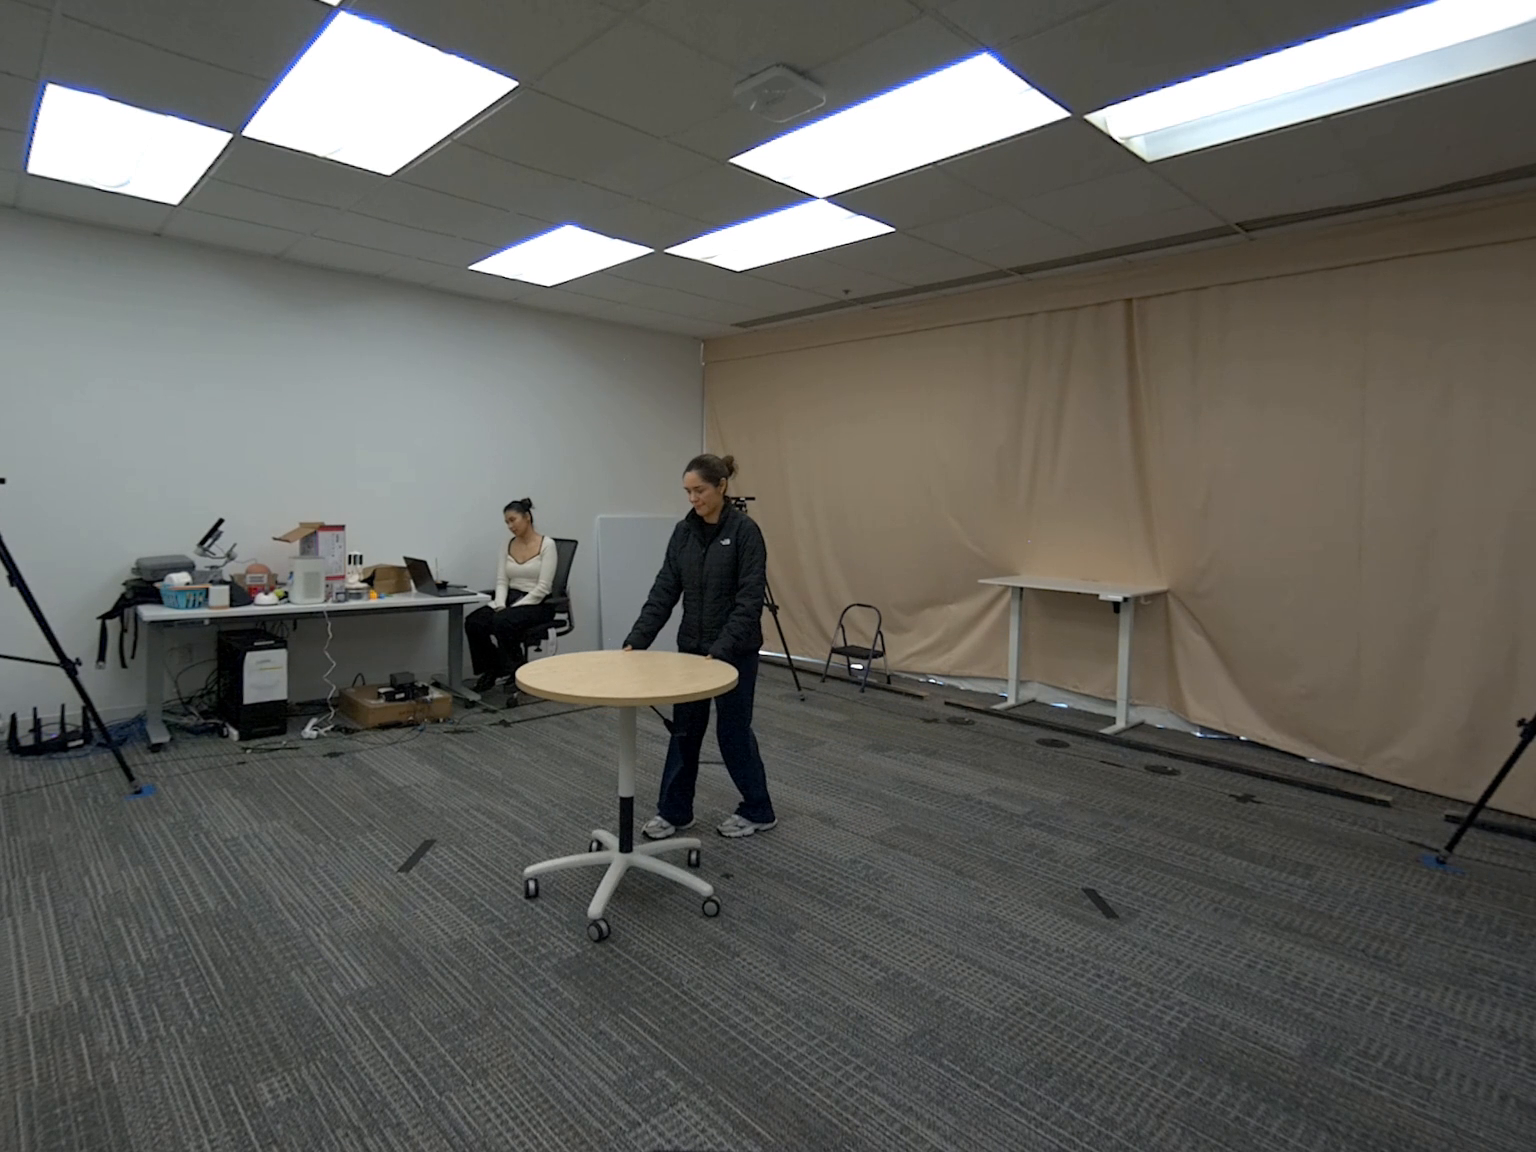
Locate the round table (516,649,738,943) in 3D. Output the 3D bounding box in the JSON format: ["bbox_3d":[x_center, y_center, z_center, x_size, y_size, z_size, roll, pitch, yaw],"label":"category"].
[{"bbox_3d":[-0.483,0.721,2.939,0.784,0.784,0.788,1,4,-1],"label":"round table"}]
